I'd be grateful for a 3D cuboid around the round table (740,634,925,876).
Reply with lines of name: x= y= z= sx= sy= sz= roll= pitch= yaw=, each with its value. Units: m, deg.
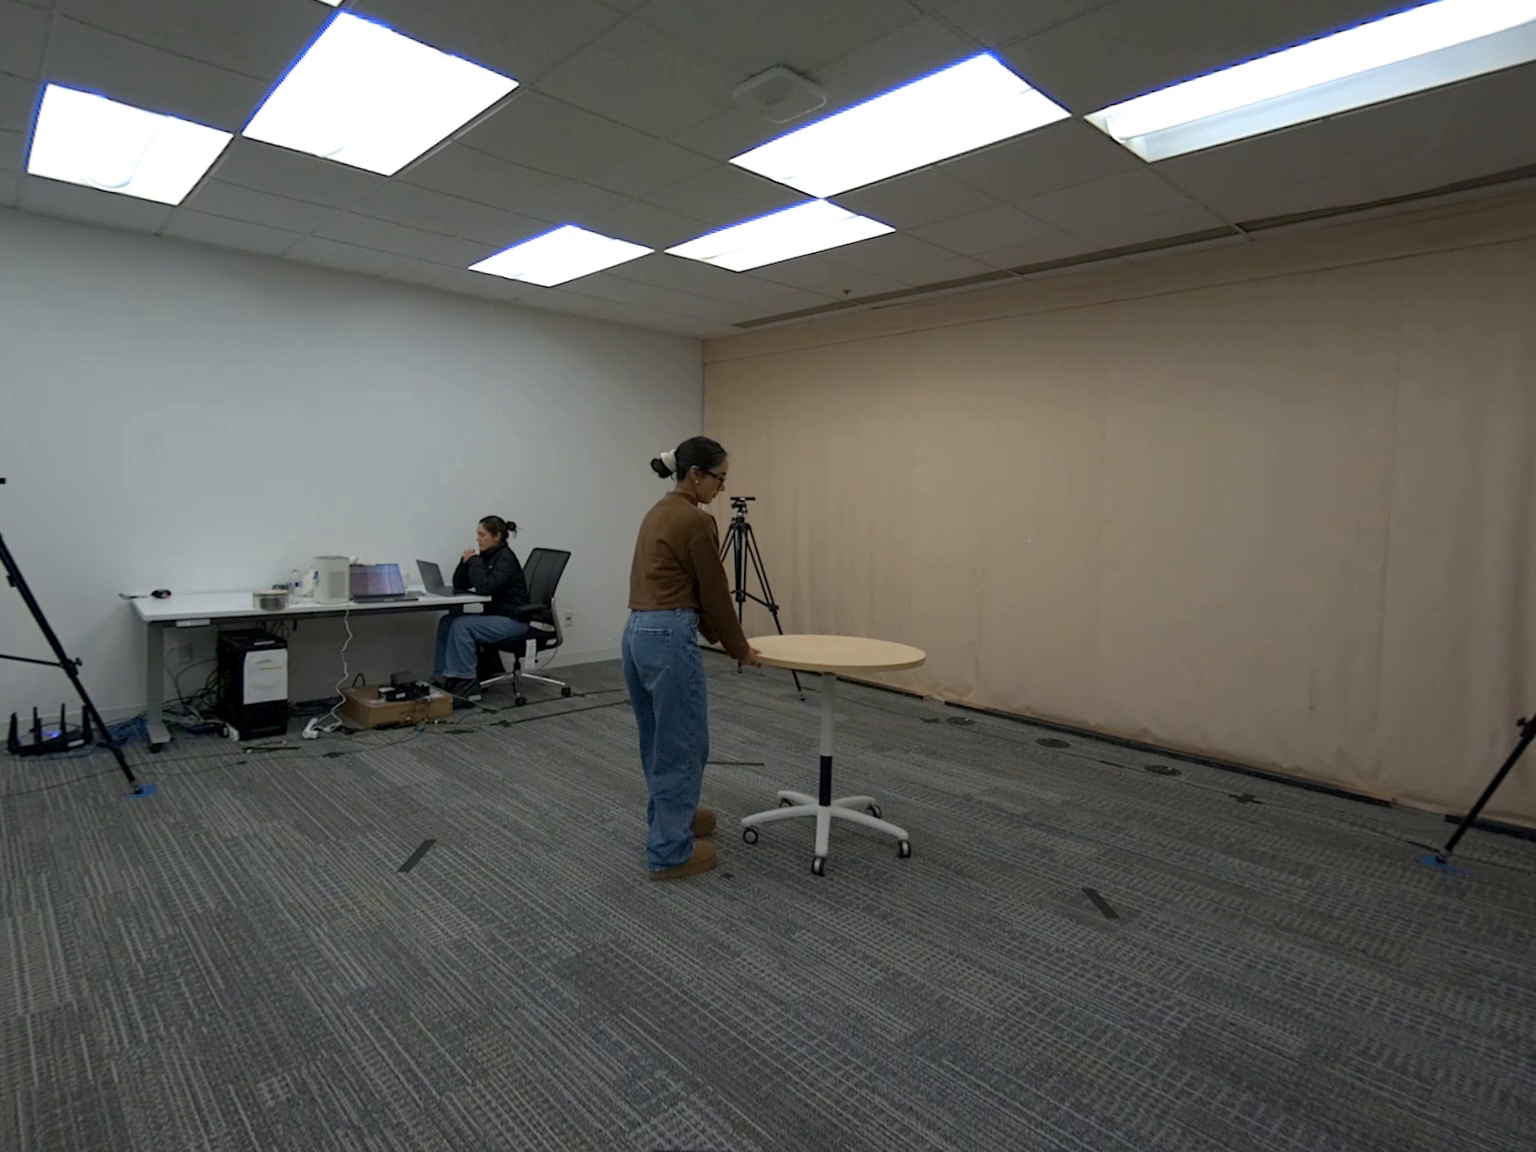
round table: x=0.223 y=0.690 z=3.446 sx=0.784 sy=0.785 sz=0.787 roll=2 pitch=3 yaw=-1
